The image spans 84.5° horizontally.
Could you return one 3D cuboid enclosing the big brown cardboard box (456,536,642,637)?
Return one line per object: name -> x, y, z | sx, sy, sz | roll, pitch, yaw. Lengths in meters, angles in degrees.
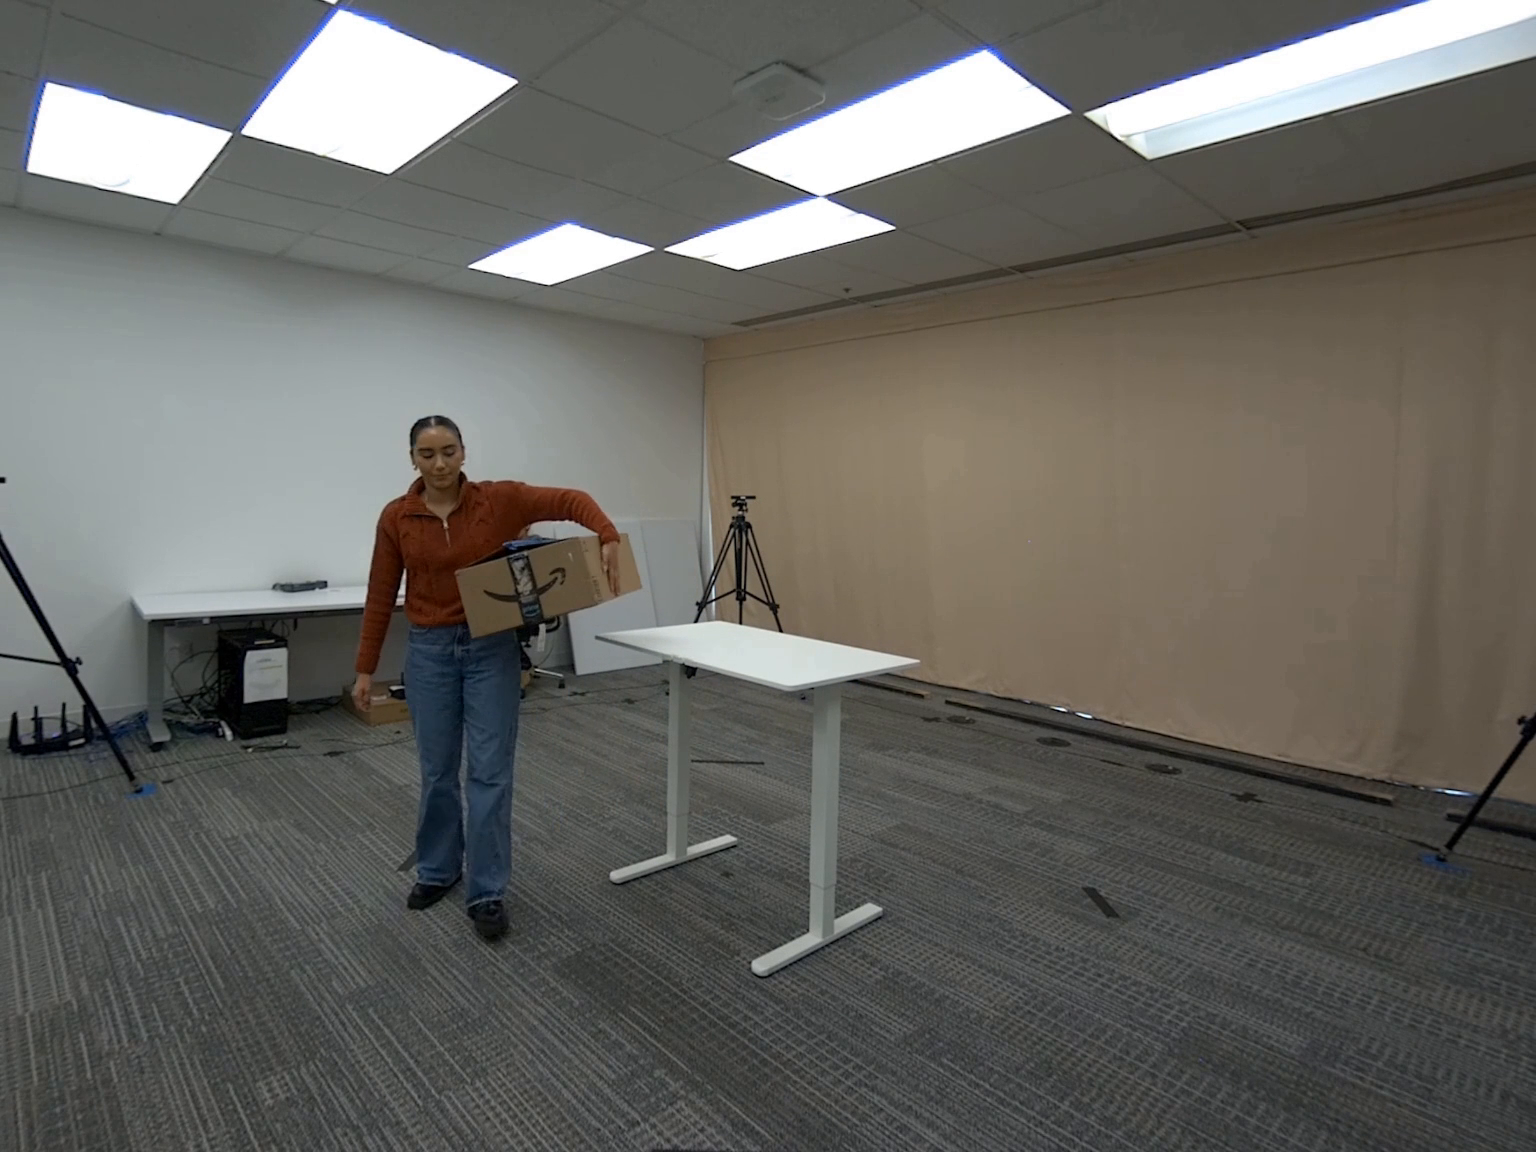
big brown cardboard box -> -0.719, 0.018, 2.798 | 0.419, 0.233, 0.586 | -15, 1, 5
